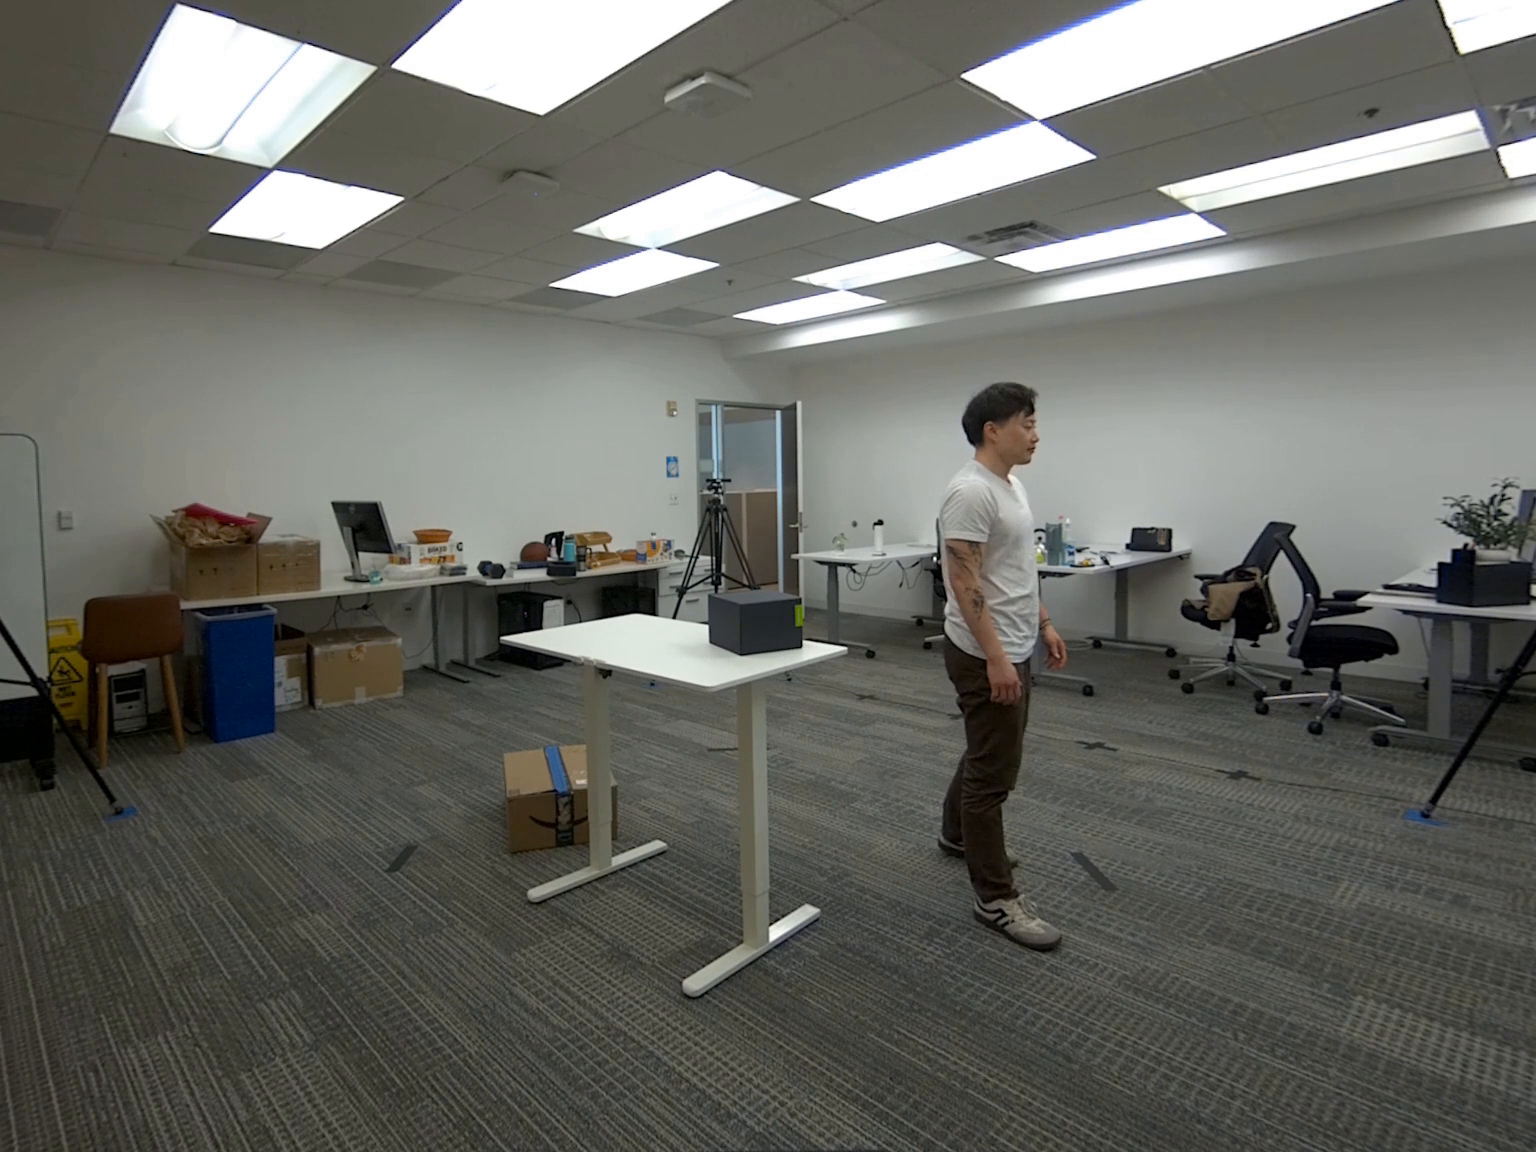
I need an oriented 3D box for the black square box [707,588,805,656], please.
[{"bbox_3d":[-0.042,0.137,2.639,0.212,0.155,0.234,-4,7,-27],"label":"black square box"}]
